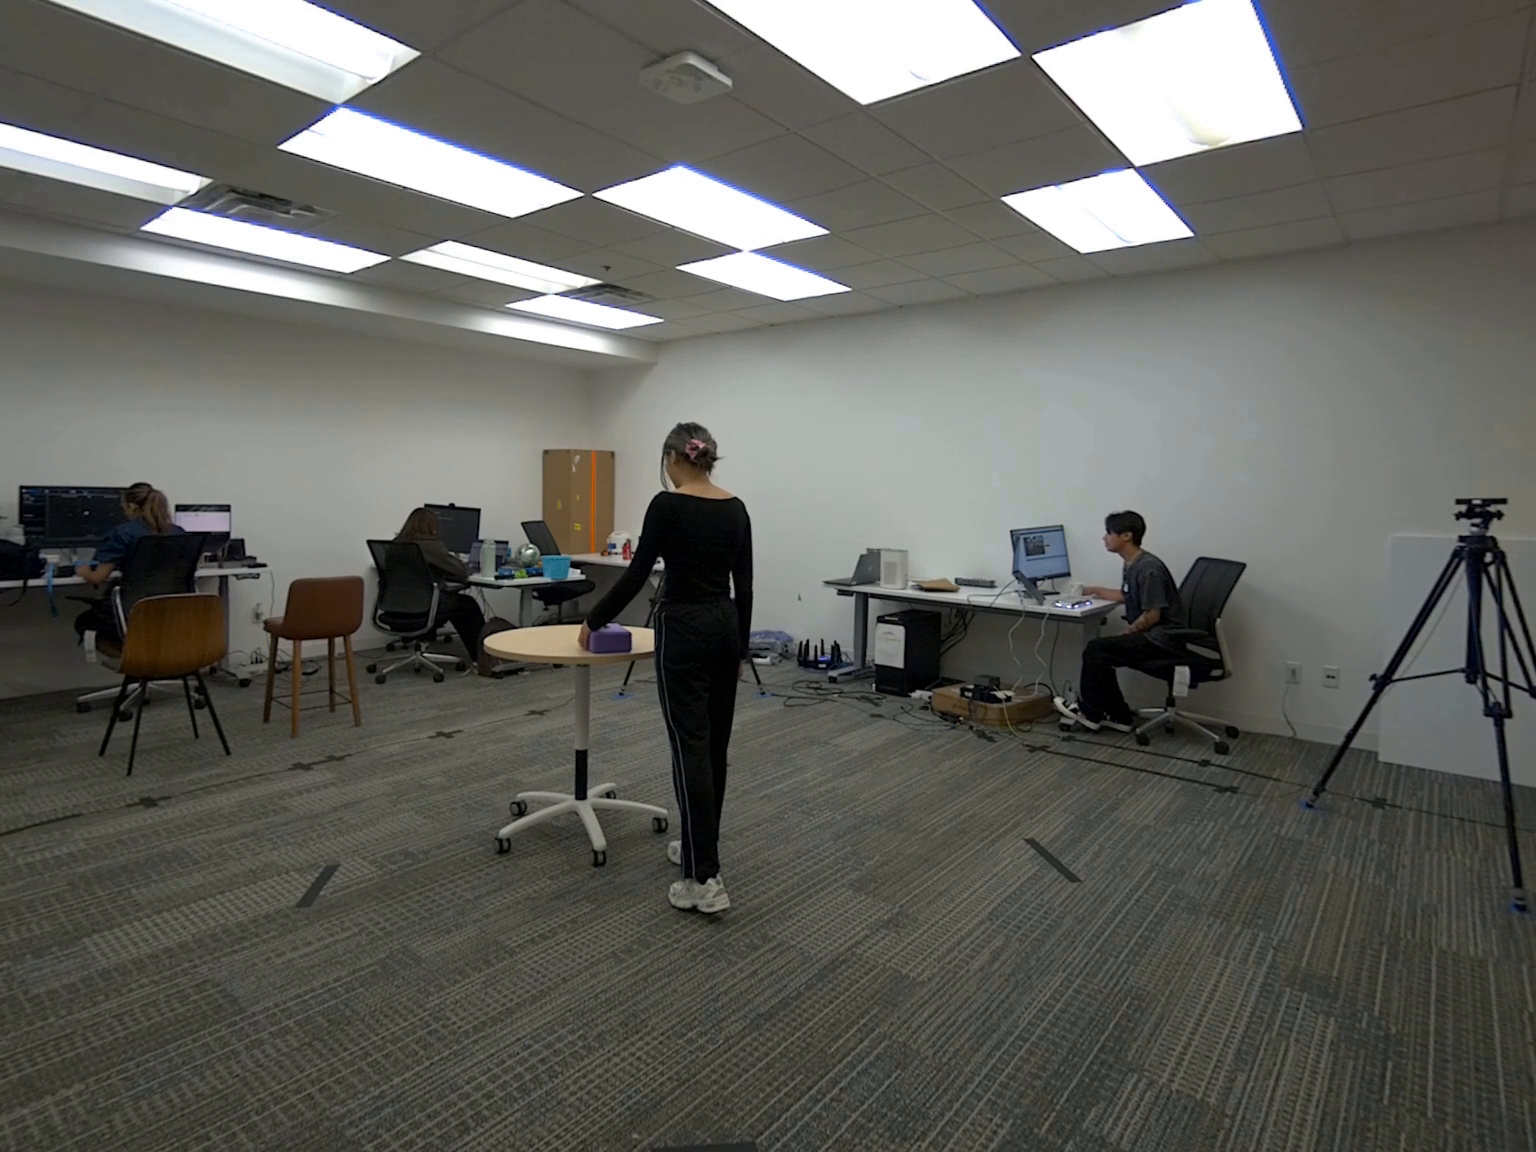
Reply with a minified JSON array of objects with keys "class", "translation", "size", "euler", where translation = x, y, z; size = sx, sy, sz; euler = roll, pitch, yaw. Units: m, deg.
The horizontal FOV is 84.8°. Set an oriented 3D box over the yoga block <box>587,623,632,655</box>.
[{"class":"yoga block","translation":[-0.622,0.230,3.198],"size":[0.147,0.076,0.234],"euler":[0,5,-15]}]
